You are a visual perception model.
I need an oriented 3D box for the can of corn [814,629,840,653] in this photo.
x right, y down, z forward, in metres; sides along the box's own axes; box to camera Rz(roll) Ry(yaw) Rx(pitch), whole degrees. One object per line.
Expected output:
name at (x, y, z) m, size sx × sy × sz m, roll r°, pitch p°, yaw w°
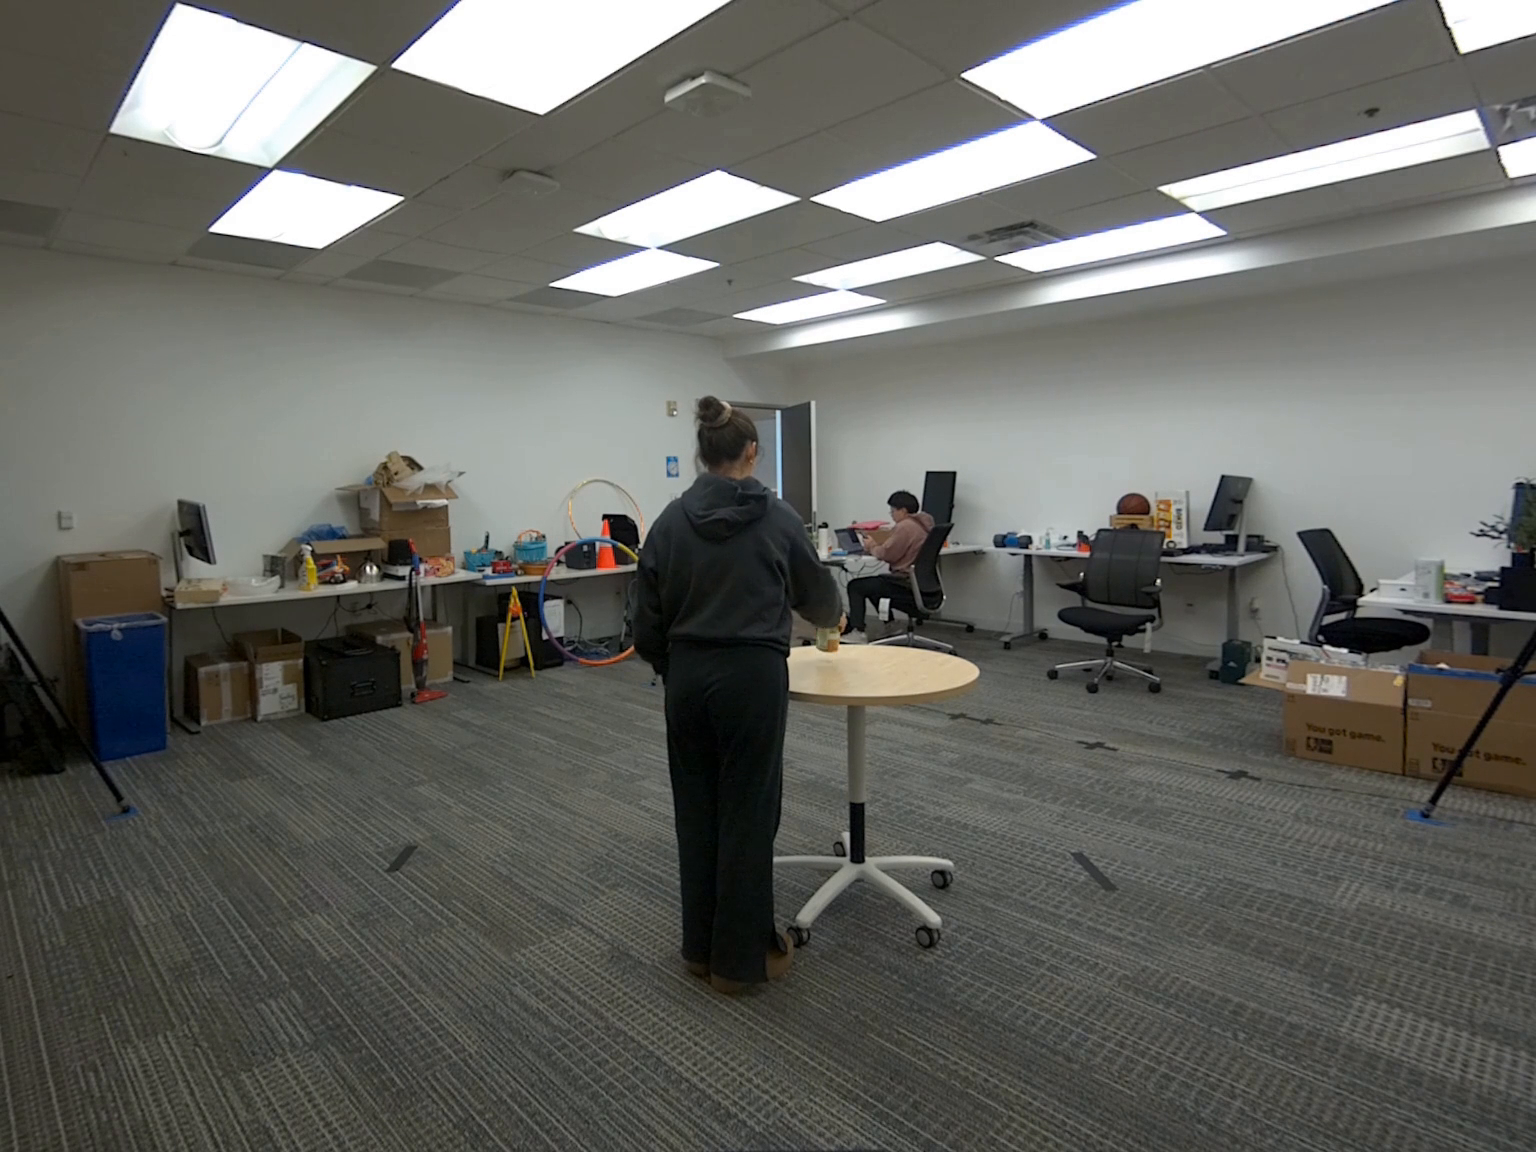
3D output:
can of corn at (0.209, 0.186, 2.836) m, size 0.074 × 0.110 × 0.075 m, roll 0°, pitch 10°, yaw -2°
